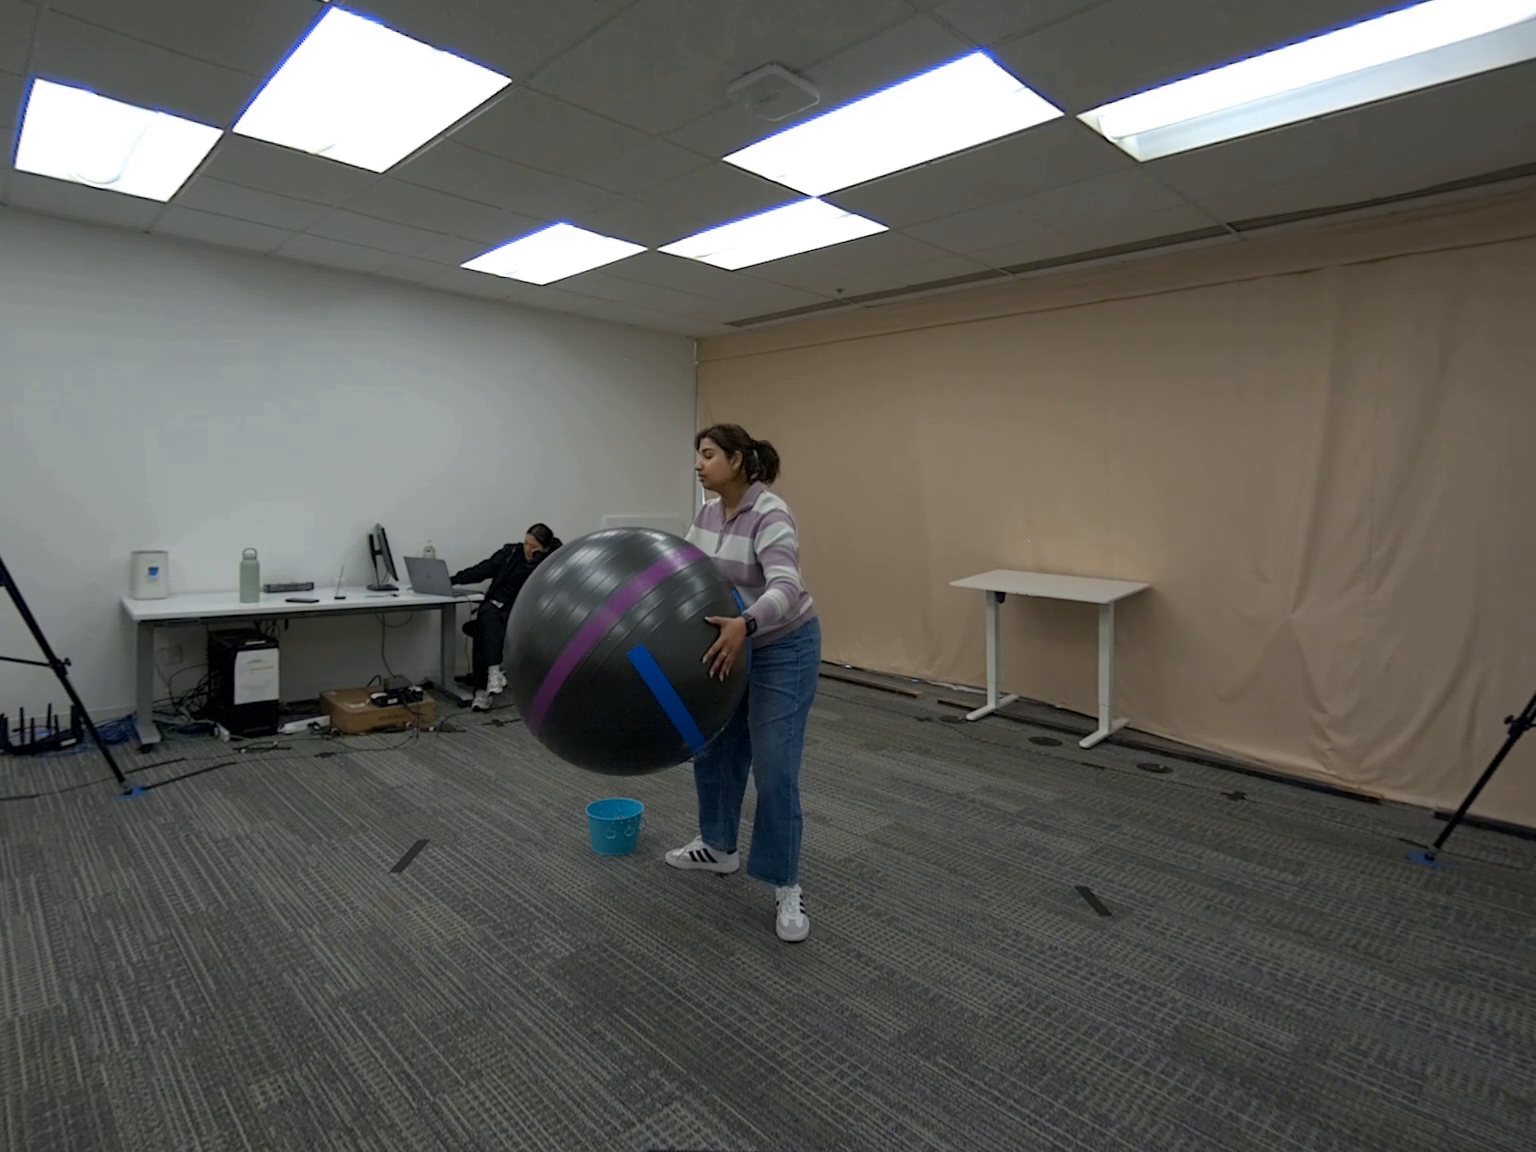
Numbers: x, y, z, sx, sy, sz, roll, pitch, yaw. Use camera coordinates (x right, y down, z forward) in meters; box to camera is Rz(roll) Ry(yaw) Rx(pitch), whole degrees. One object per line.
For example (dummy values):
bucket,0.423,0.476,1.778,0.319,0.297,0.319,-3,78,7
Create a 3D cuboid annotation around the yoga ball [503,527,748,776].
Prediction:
yoga ball,-0.435,0.235,2.599,0.757,0.756,0.761,1,4,-1
